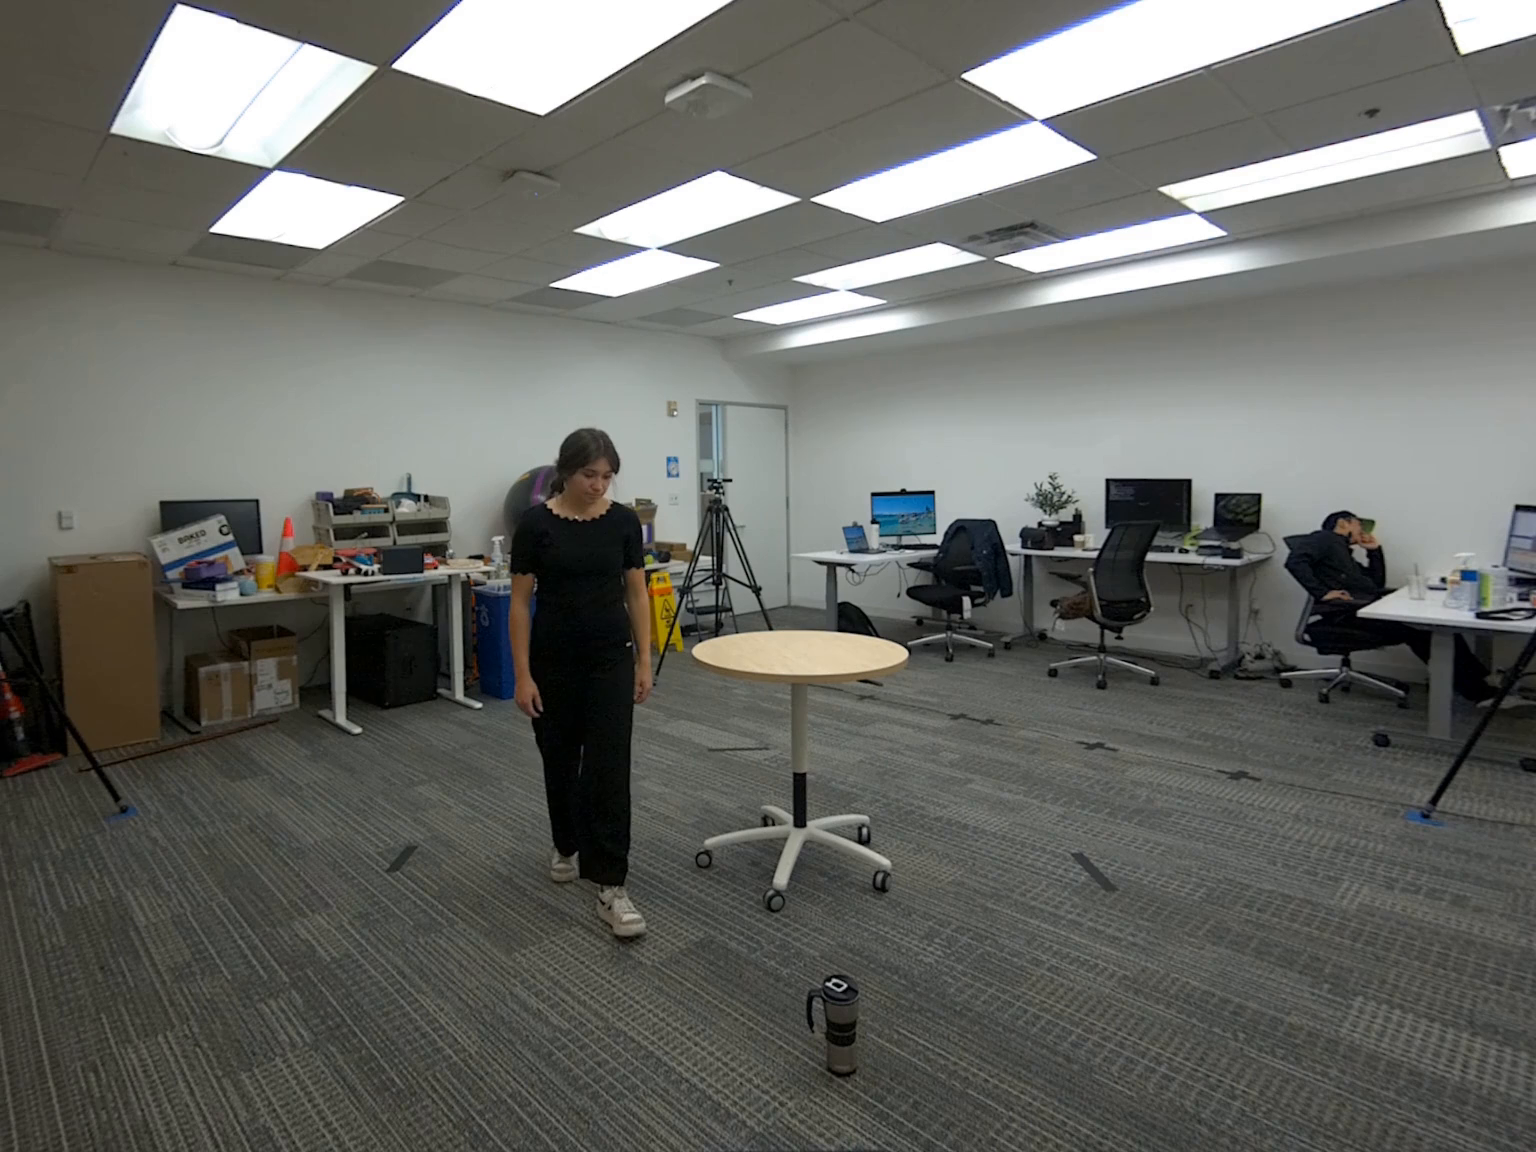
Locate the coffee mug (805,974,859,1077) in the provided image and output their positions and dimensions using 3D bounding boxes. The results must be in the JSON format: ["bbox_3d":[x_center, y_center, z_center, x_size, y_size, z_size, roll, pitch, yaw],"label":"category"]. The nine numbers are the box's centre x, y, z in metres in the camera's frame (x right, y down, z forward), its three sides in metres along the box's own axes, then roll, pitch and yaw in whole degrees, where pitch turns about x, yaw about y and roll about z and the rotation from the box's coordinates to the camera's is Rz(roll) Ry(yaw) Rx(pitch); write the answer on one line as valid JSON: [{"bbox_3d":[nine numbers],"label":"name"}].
[{"bbox_3d":[0.149,1.068,2.038,0.125,0.202,0.086,3,8,28],"label":"coffee mug"}]
